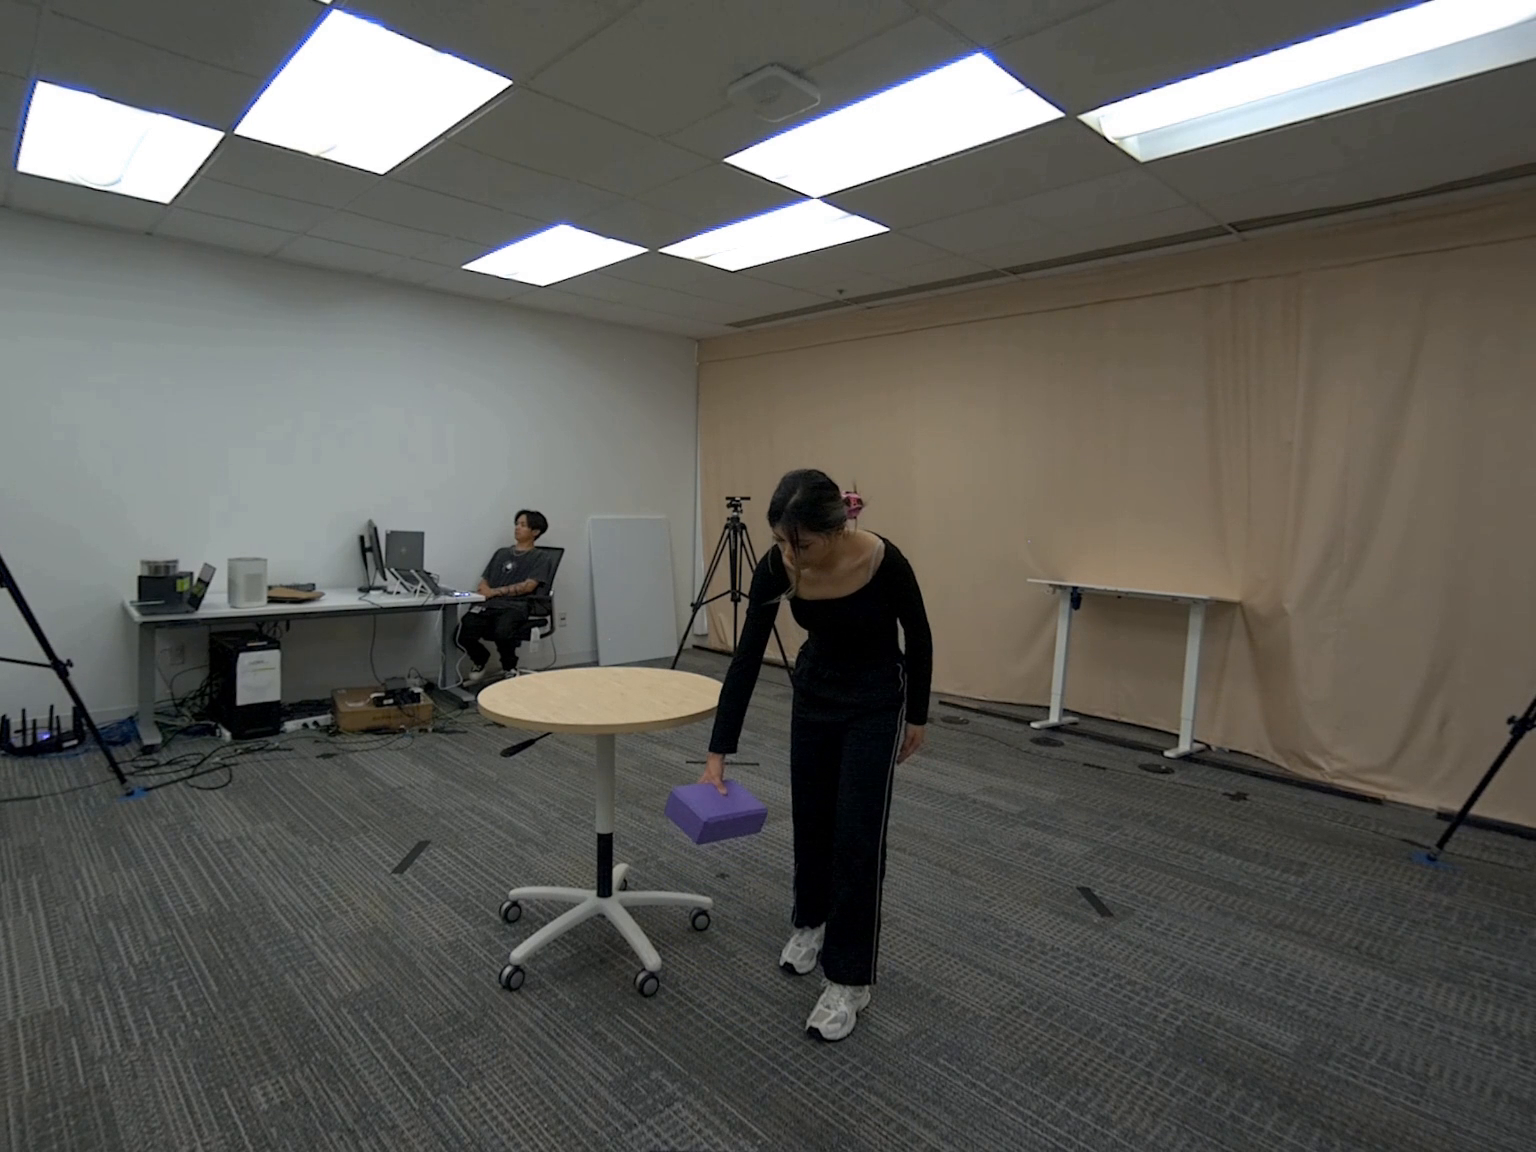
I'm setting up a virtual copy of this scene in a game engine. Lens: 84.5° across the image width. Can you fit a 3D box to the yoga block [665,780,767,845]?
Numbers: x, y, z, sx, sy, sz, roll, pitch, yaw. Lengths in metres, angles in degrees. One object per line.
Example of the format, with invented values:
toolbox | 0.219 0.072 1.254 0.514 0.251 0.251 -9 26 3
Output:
yoga block | -0.124 0.591 2.103 0.153 0.076 0.224 25 14 35
